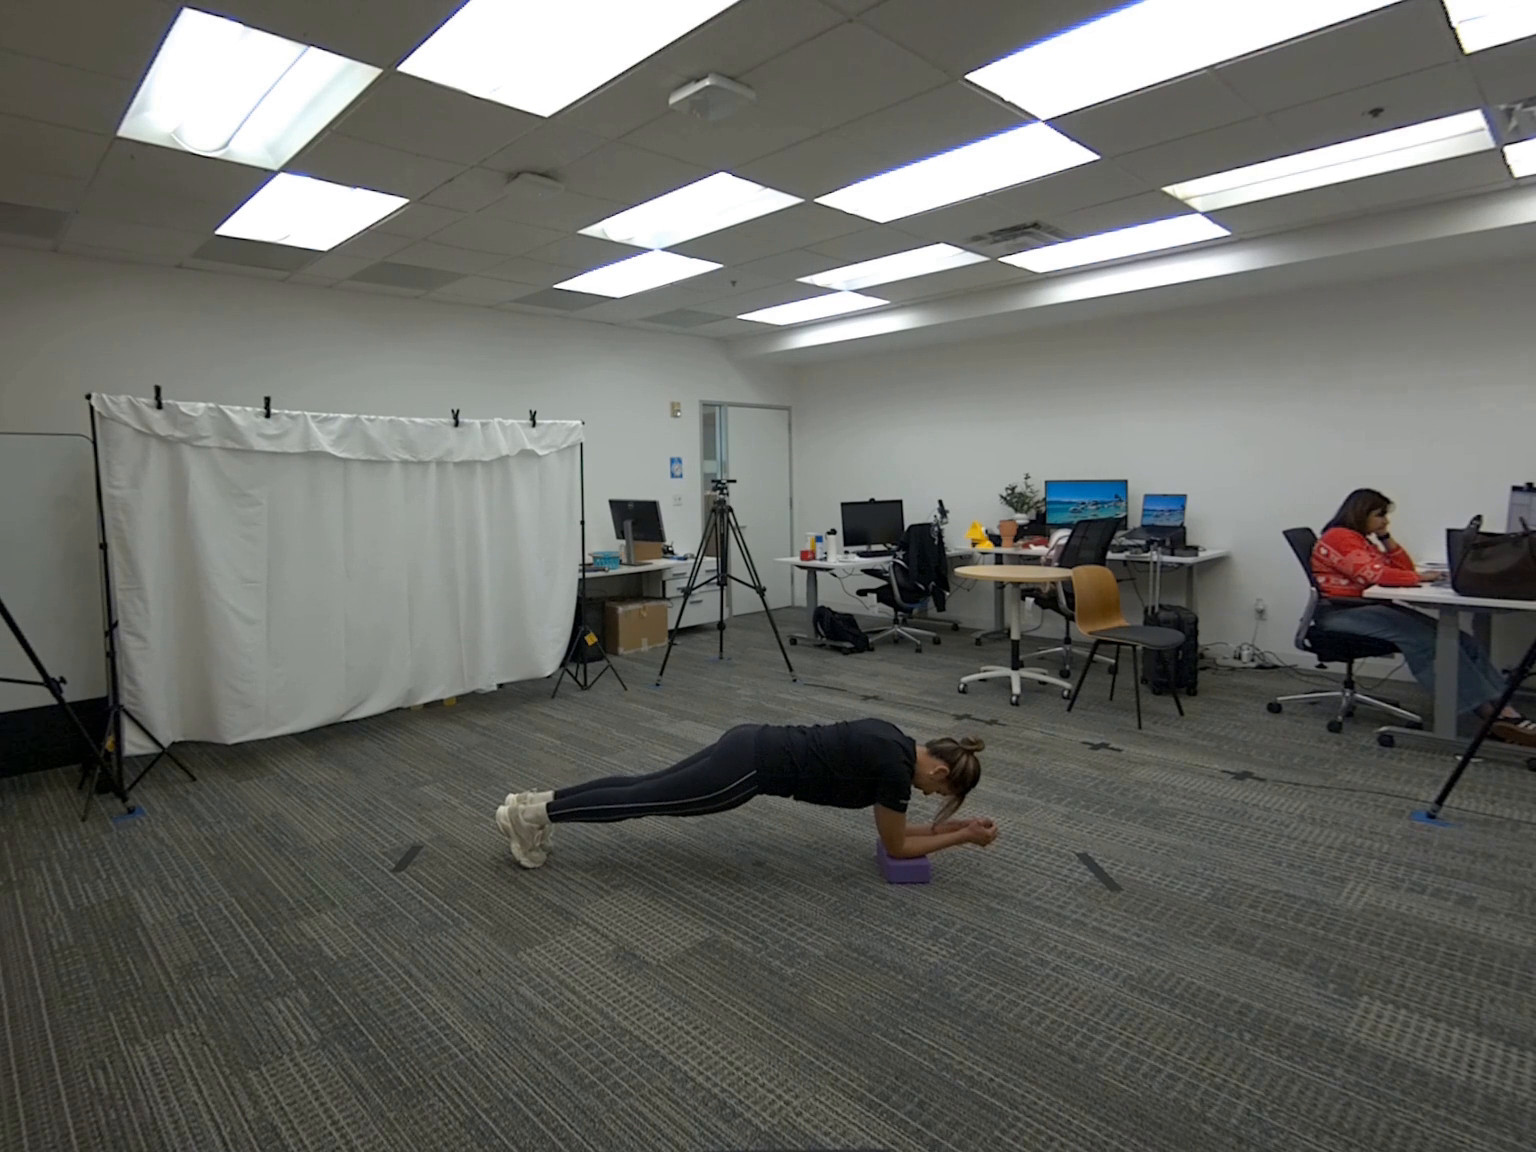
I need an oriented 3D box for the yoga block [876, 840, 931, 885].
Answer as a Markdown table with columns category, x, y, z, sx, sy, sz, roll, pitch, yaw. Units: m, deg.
| category | x | y | z | sx | sy | sz | roll | pitch | yaw |
| --- | --- | --- | --- | --- | --- | --- | --- | --- | --- |
| yoga block | 0.477 | 1.000 | 3.039 | 0.149 | 0.076 | 0.230 | 0 | 6 | 0 |
